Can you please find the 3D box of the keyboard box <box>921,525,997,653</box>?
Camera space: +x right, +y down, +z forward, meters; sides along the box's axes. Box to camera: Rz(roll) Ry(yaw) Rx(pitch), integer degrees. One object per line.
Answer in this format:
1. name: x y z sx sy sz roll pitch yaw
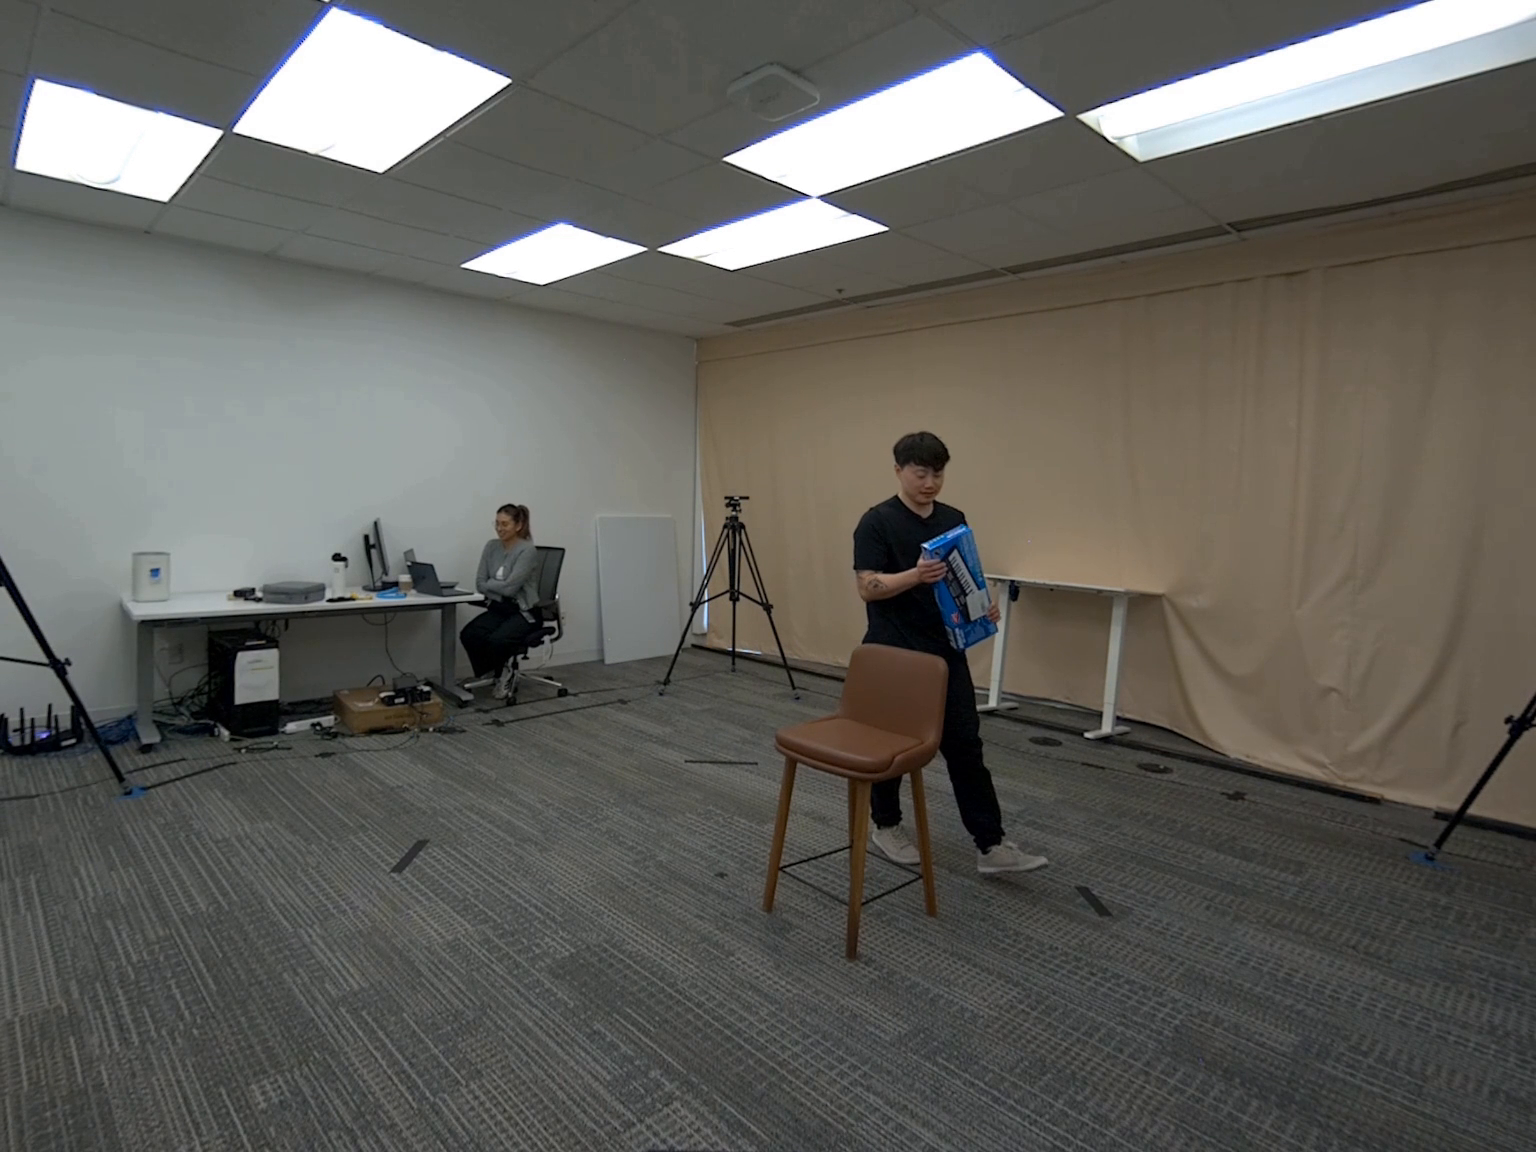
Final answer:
1. keyboard box: 0.682 0.046 2.973 0.175 0.427 0.060 -25 24 -9
